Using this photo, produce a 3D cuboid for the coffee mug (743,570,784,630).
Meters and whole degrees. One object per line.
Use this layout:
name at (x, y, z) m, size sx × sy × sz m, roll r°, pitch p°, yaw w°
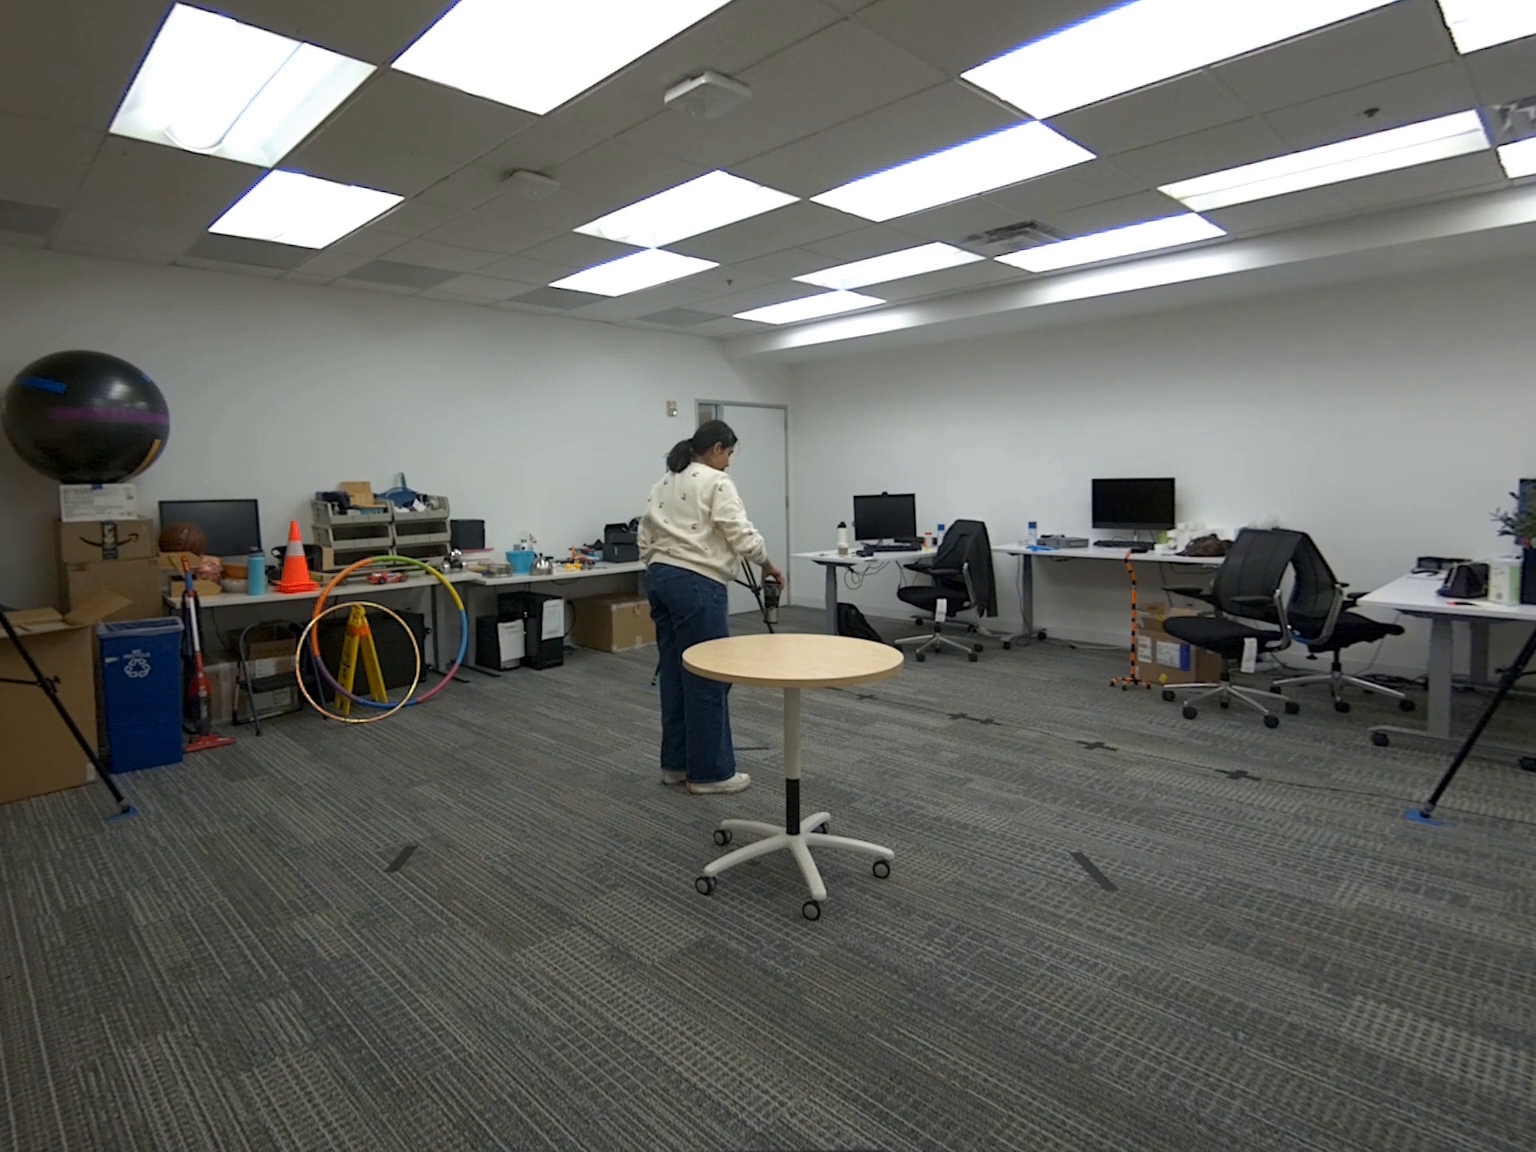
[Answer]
coffee mug at (-0.006, 0.123, 3.983) m, size 0.118 × 0.201 × 0.091 m, roll -1°, pitch 11°, yaw -40°
